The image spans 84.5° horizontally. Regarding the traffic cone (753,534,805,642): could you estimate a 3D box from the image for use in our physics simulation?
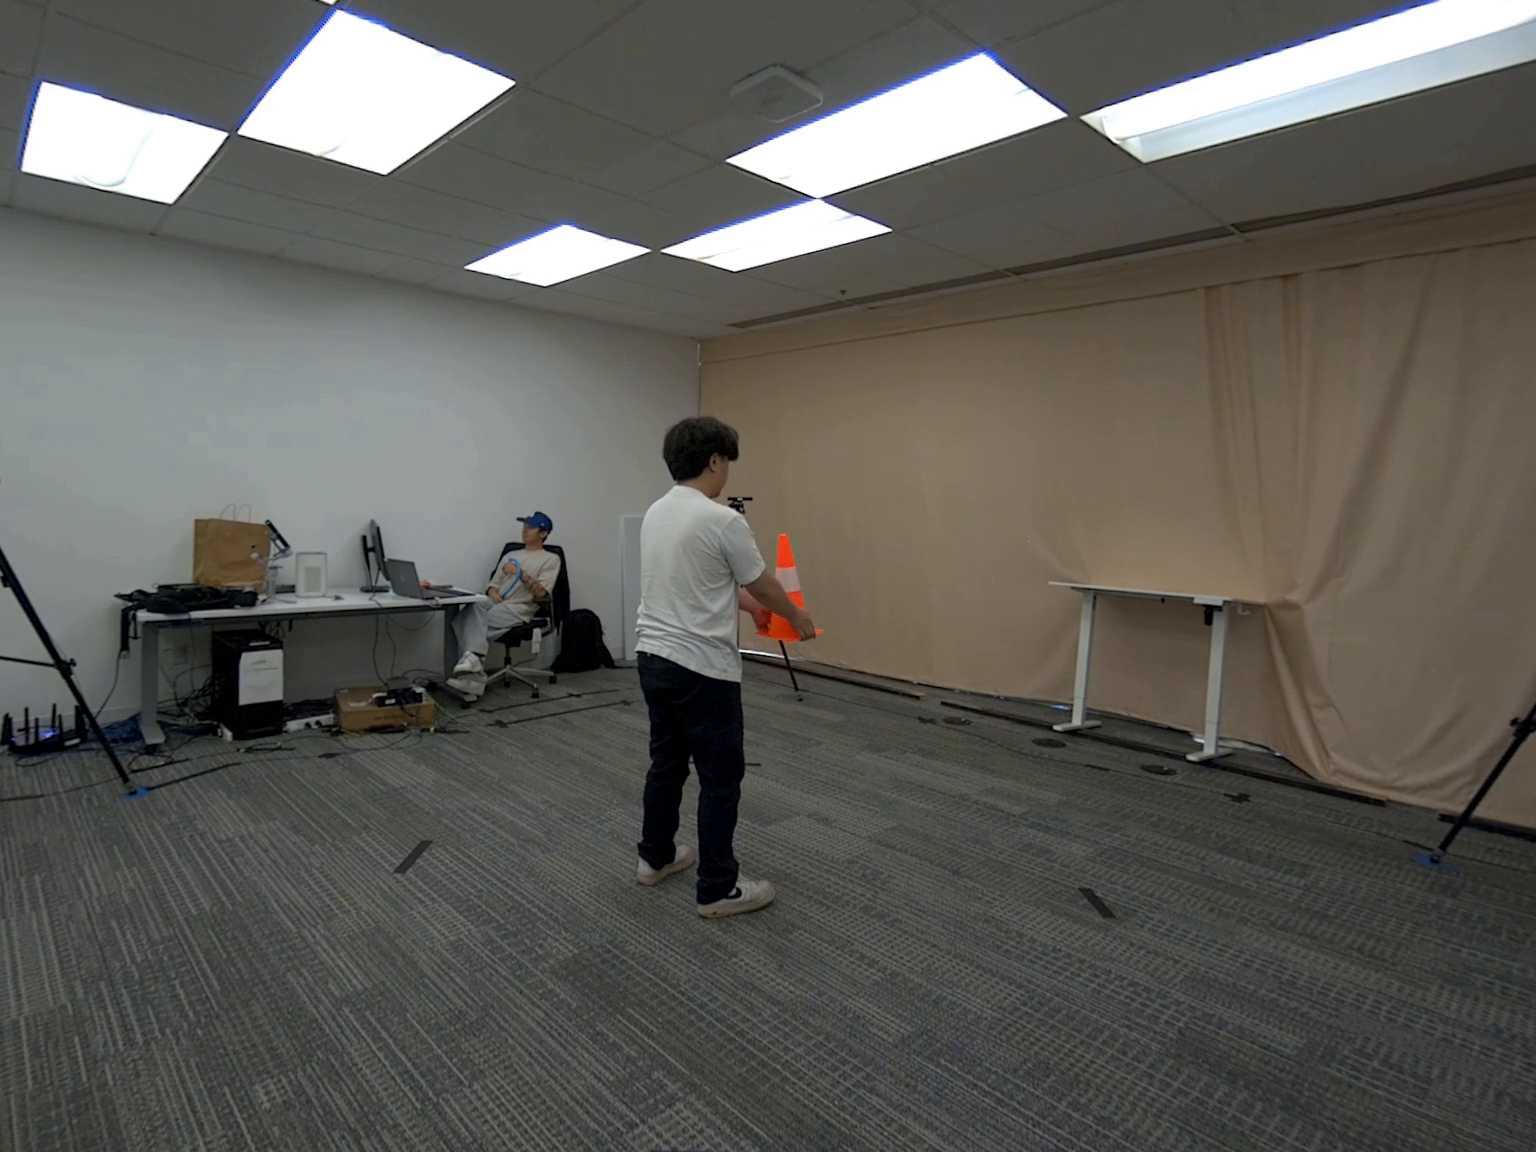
[{"bbox_3d":[0.064,0.034,3.192,0.209,0.382,0.200,2,7,31],"label":"traffic cone"}]
